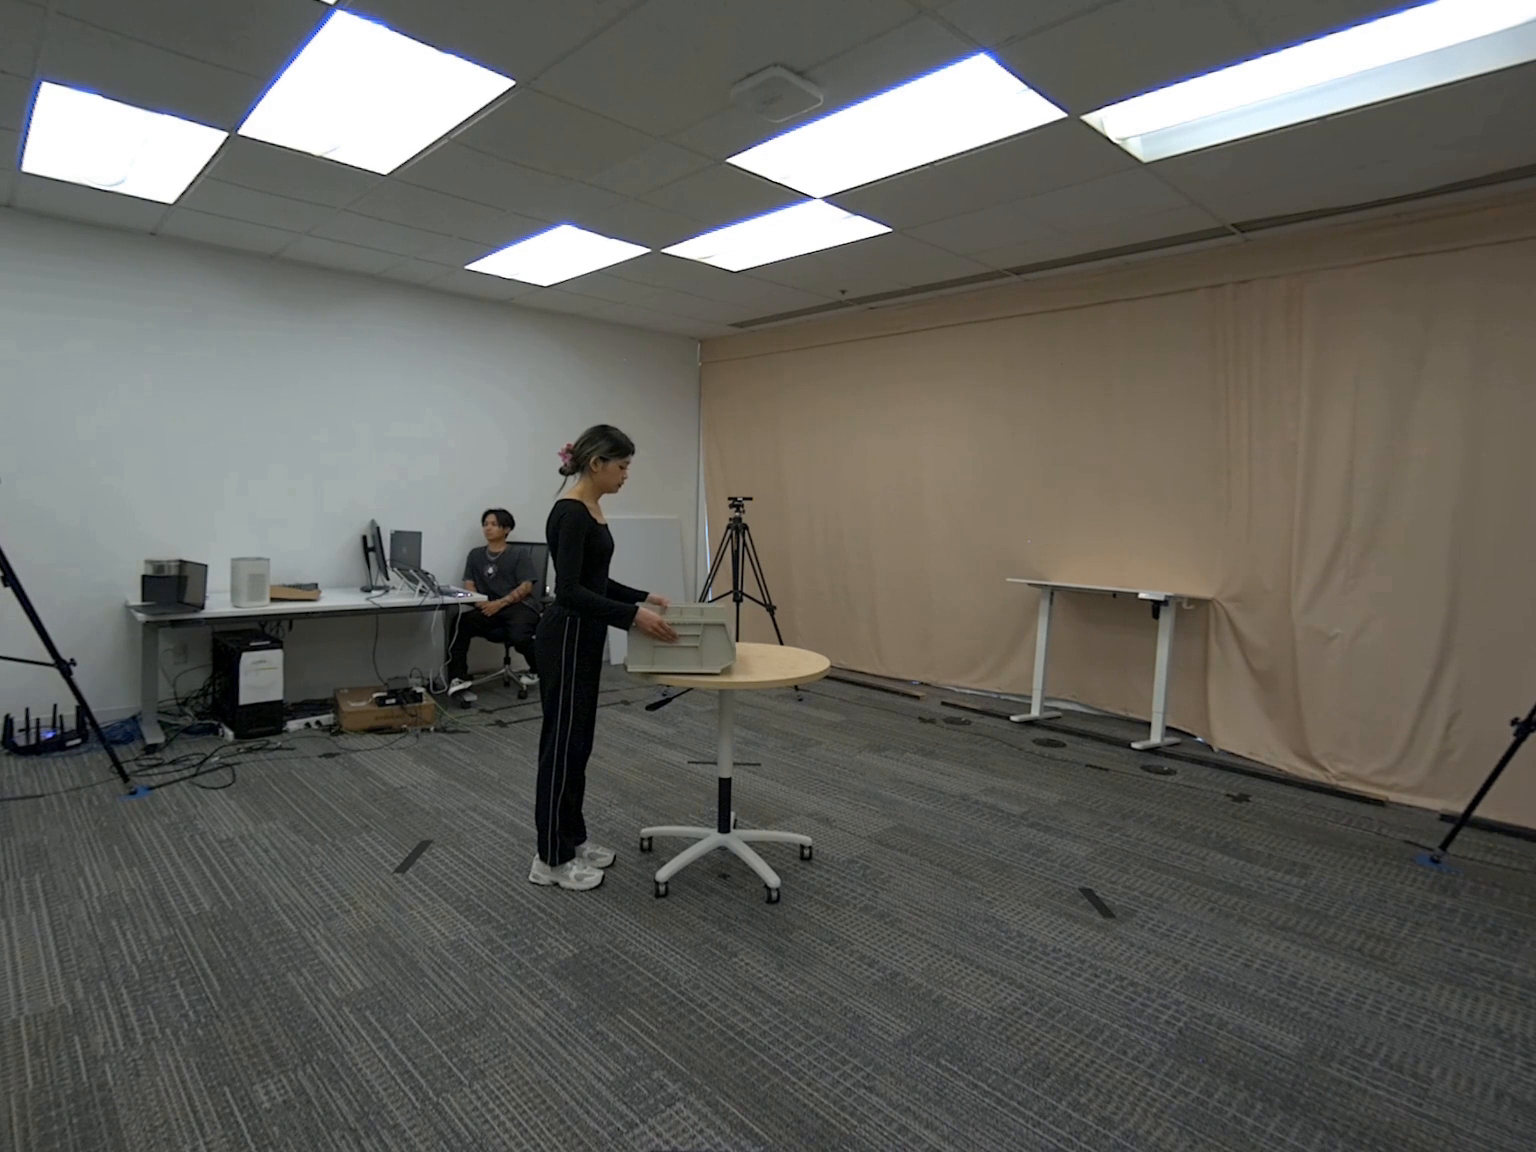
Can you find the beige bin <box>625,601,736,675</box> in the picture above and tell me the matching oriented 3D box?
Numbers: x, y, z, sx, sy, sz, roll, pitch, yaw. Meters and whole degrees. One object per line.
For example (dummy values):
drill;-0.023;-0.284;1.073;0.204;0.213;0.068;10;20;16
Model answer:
beige bin;-0.313;0.214;3.017;0.377;0.188;0.424;1;6;-1
